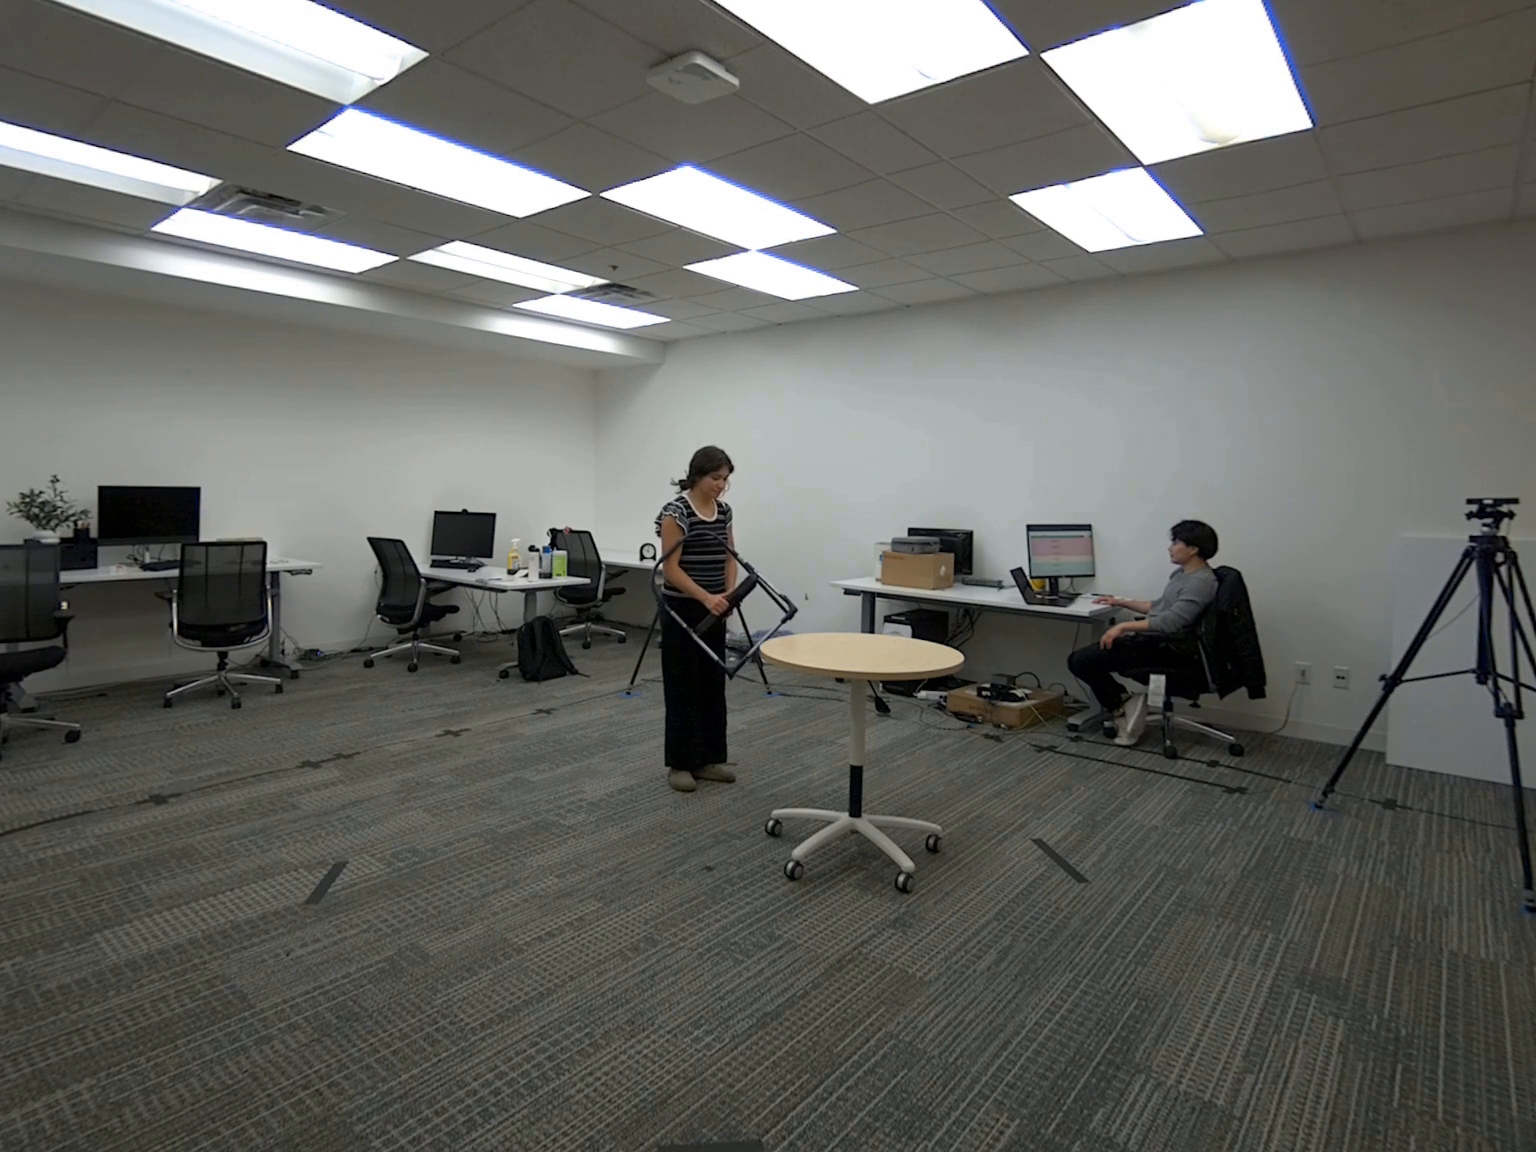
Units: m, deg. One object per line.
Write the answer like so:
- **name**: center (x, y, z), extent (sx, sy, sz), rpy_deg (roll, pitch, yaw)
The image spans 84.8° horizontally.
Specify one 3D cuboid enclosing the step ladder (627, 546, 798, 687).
- **step ladder**: center (-0.240, 0.098, 3.881), extent (0.613, 0.430, 0.346), rpy_deg (44, -9, 7)
